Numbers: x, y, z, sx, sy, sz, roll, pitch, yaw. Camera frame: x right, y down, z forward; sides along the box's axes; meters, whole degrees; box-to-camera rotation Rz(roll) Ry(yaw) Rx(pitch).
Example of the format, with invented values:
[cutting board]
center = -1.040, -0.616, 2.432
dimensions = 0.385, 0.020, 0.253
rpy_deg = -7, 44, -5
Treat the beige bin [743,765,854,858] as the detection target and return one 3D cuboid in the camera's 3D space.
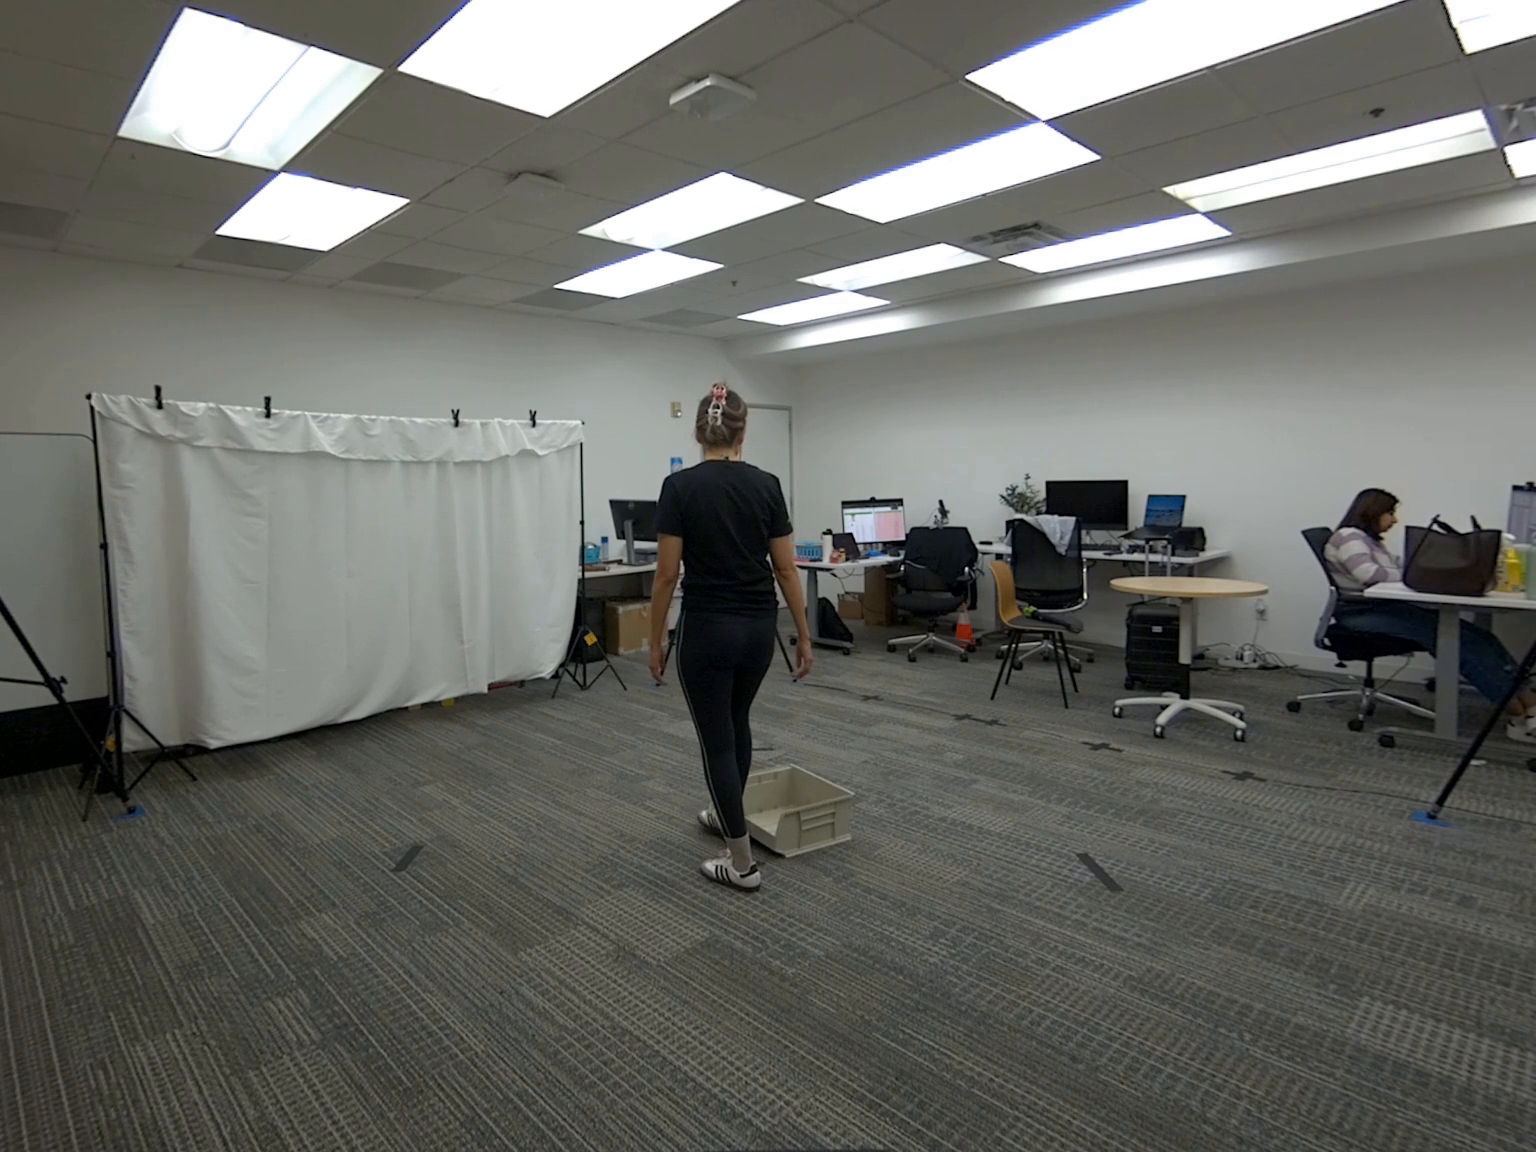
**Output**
[beige bin]
center = 0.069, 0.925, 3.390
dimensions = 0.368, 0.188, 0.435
rpy_deg = -2, 6, -33
